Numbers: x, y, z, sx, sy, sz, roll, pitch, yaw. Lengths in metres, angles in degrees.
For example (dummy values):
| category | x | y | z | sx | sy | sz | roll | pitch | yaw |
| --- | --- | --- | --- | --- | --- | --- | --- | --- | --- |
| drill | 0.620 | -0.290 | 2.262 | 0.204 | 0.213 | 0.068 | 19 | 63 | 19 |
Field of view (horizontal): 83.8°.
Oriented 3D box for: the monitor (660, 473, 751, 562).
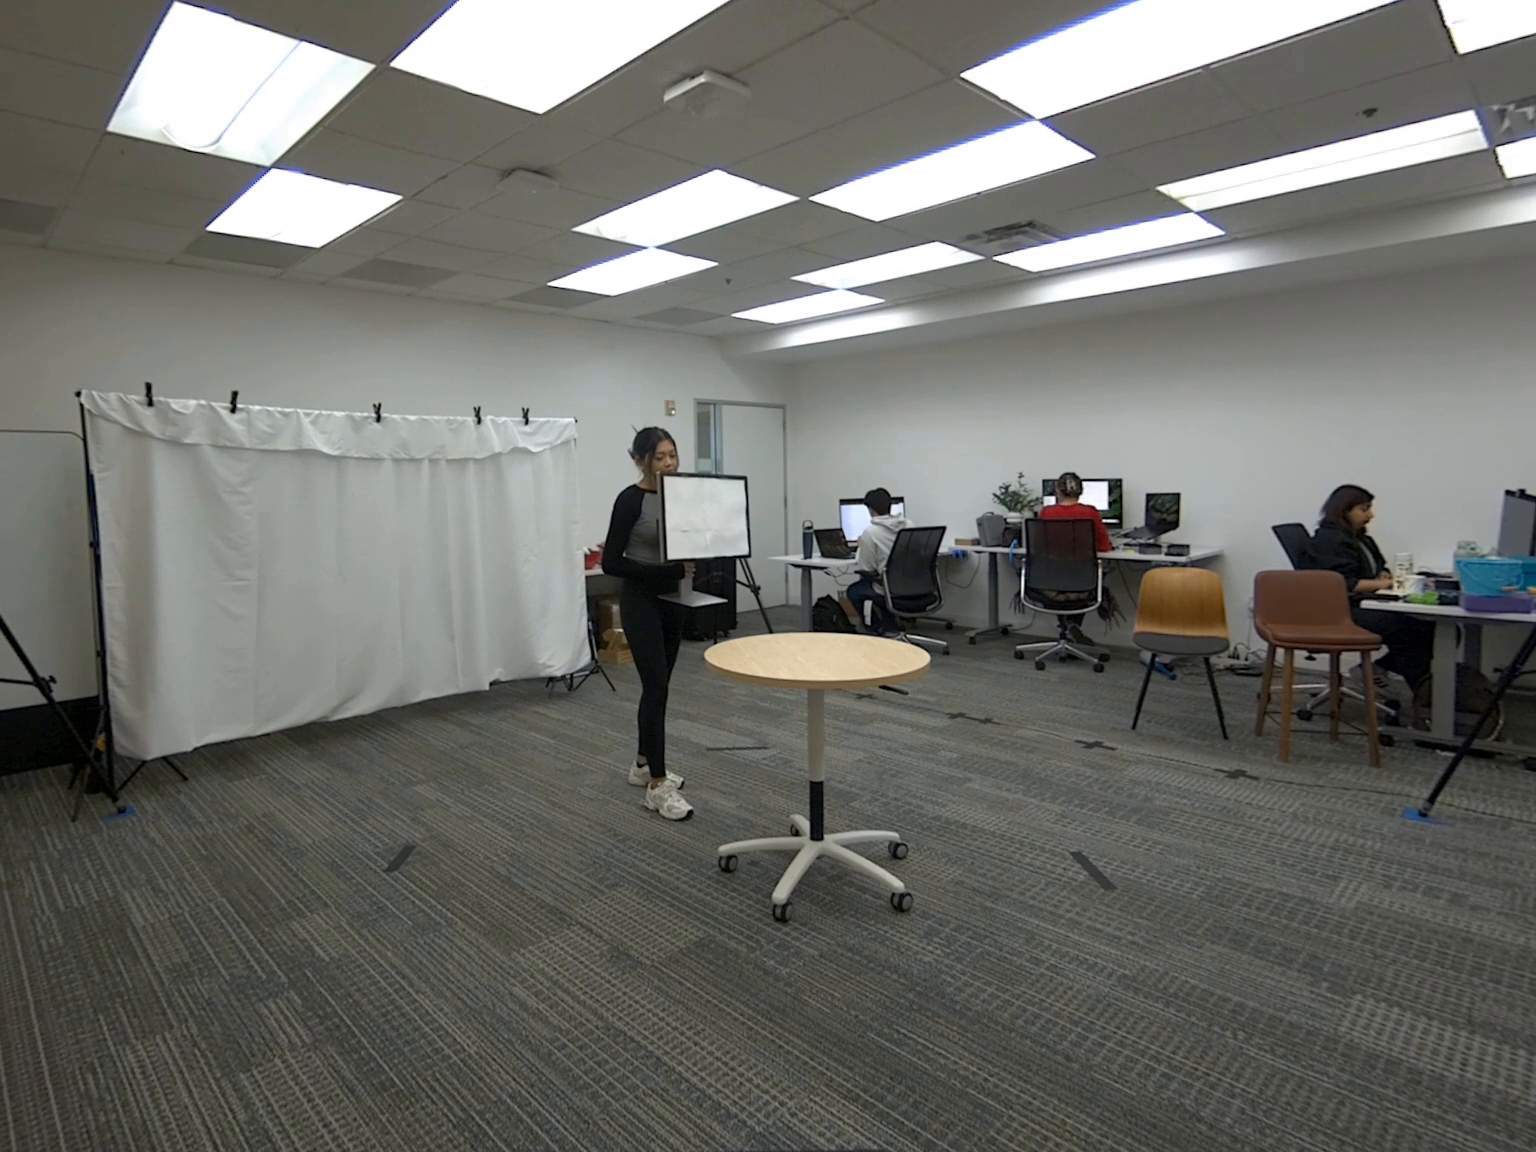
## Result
| category | x | y | z | sx | sy | sz | roll | pitch | yaw |
| --- | --- | --- | --- | --- | --- | --- | --- | --- | --- |
| monitor | -0.293 | -0.160 | 3.587 | 0.193 | 0.520 | 0.525 | 11 | 9 | 35 |
